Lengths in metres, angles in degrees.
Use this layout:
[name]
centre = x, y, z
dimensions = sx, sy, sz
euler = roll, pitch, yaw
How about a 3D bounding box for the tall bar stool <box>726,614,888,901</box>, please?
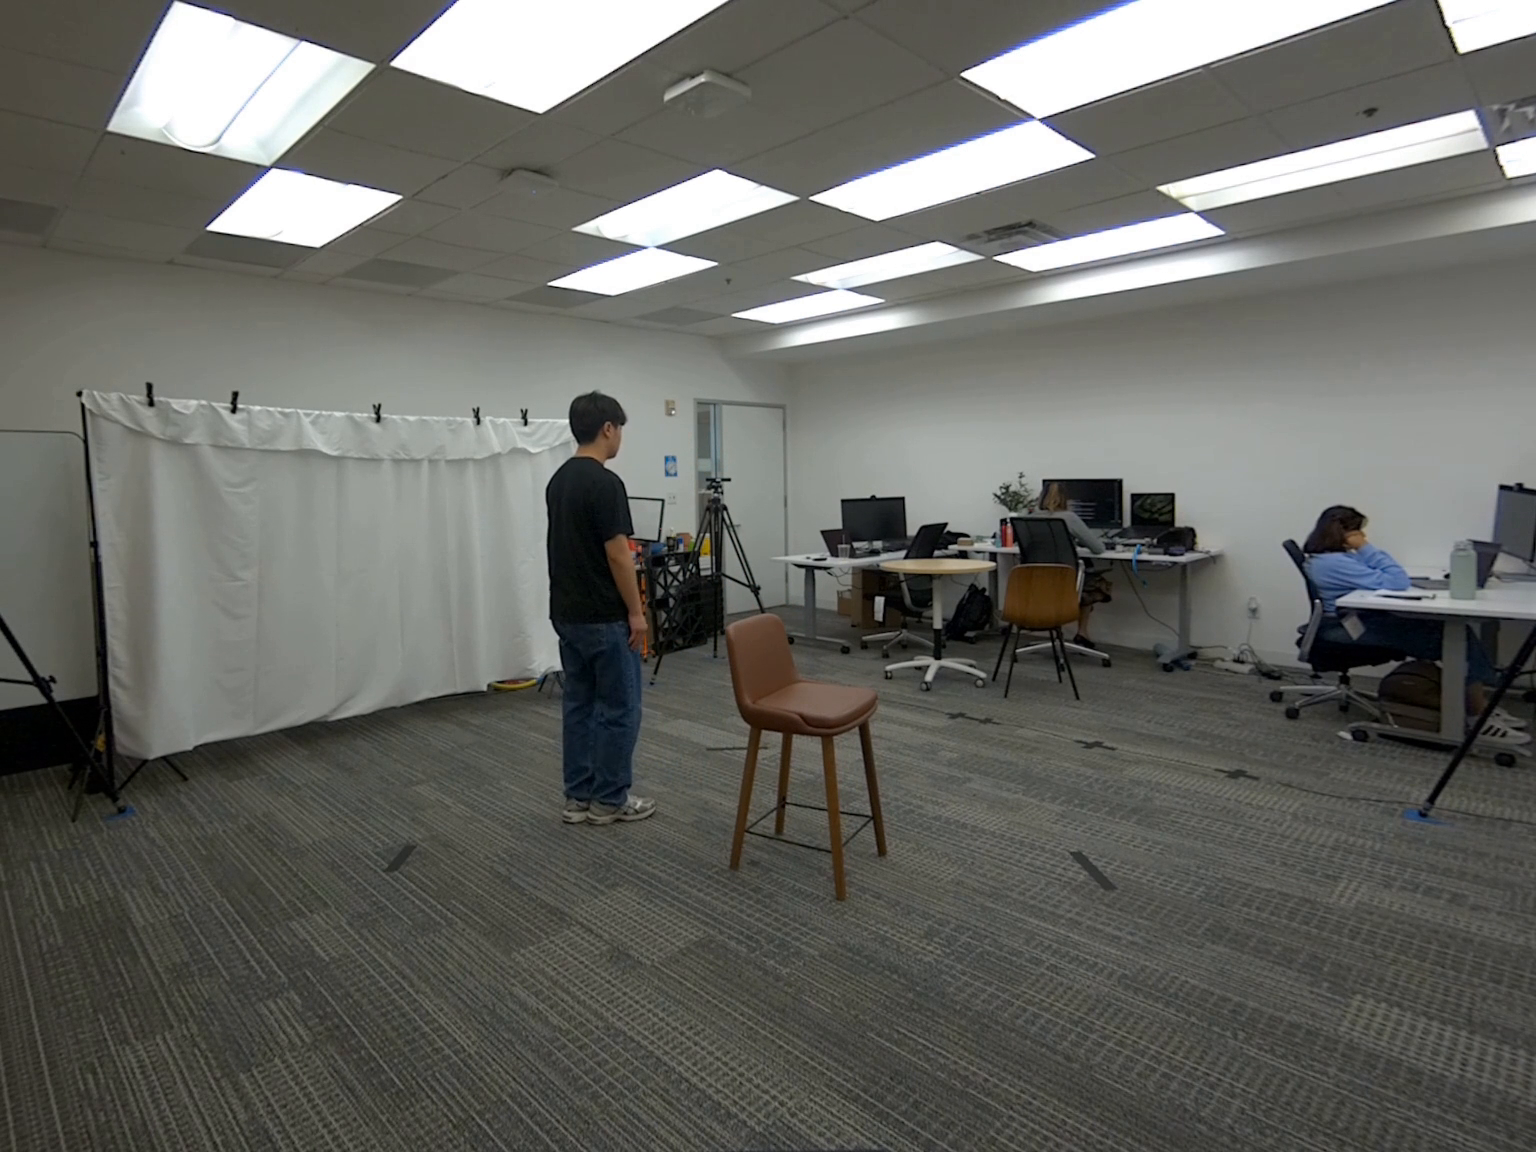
[tall bar stool]
centre = 0.139, 0.605, 3.078
dimensions = 0.480, 0.888, 0.446
euler = -1, 3, 31
